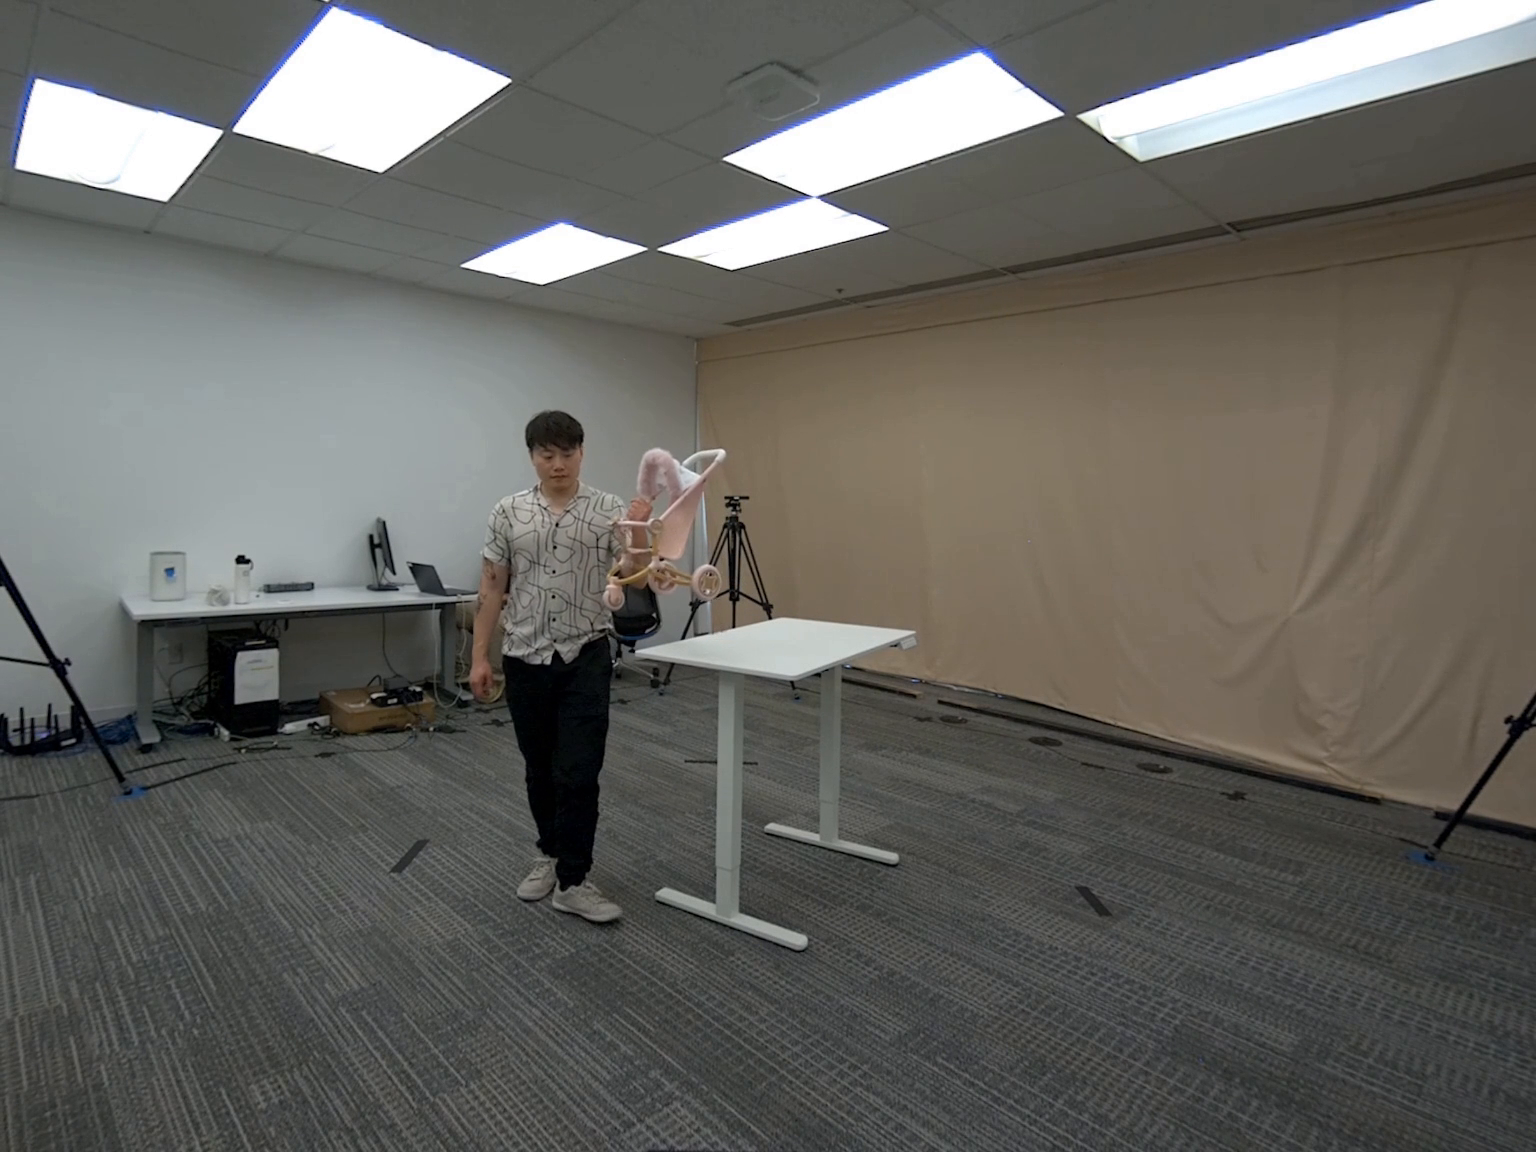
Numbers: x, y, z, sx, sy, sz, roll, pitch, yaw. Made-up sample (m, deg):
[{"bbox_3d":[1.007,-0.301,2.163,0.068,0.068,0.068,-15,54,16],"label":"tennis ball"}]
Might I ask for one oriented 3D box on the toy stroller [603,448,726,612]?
[{"bbox_3d":[-0.336,-0.150,2.588,0.333,0.536,0.288,8,-2,-33],"label":"toy stroller"}]
